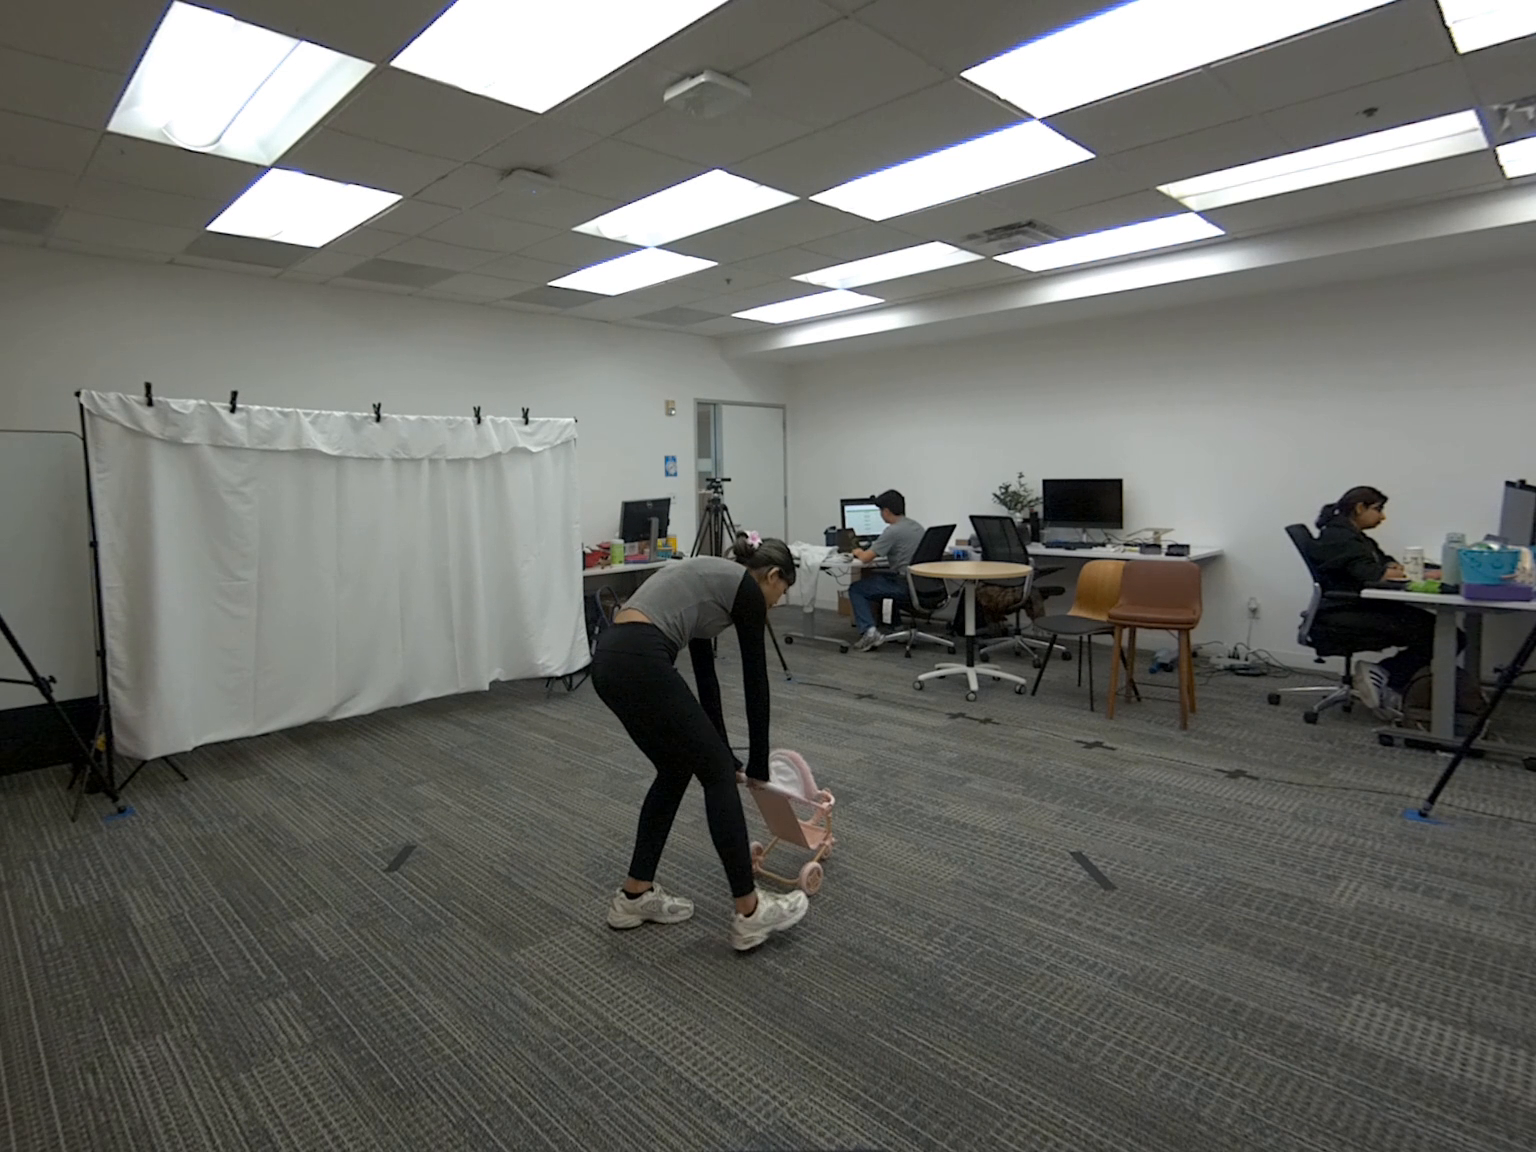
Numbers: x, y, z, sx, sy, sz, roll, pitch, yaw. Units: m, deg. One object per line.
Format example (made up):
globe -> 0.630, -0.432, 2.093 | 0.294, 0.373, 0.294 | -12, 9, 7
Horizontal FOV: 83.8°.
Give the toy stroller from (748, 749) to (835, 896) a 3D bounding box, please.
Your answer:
toy stroller -> 0.088, 0.833, 2.974 | 0.290, 0.526, 0.337 | 4, 23, 44
